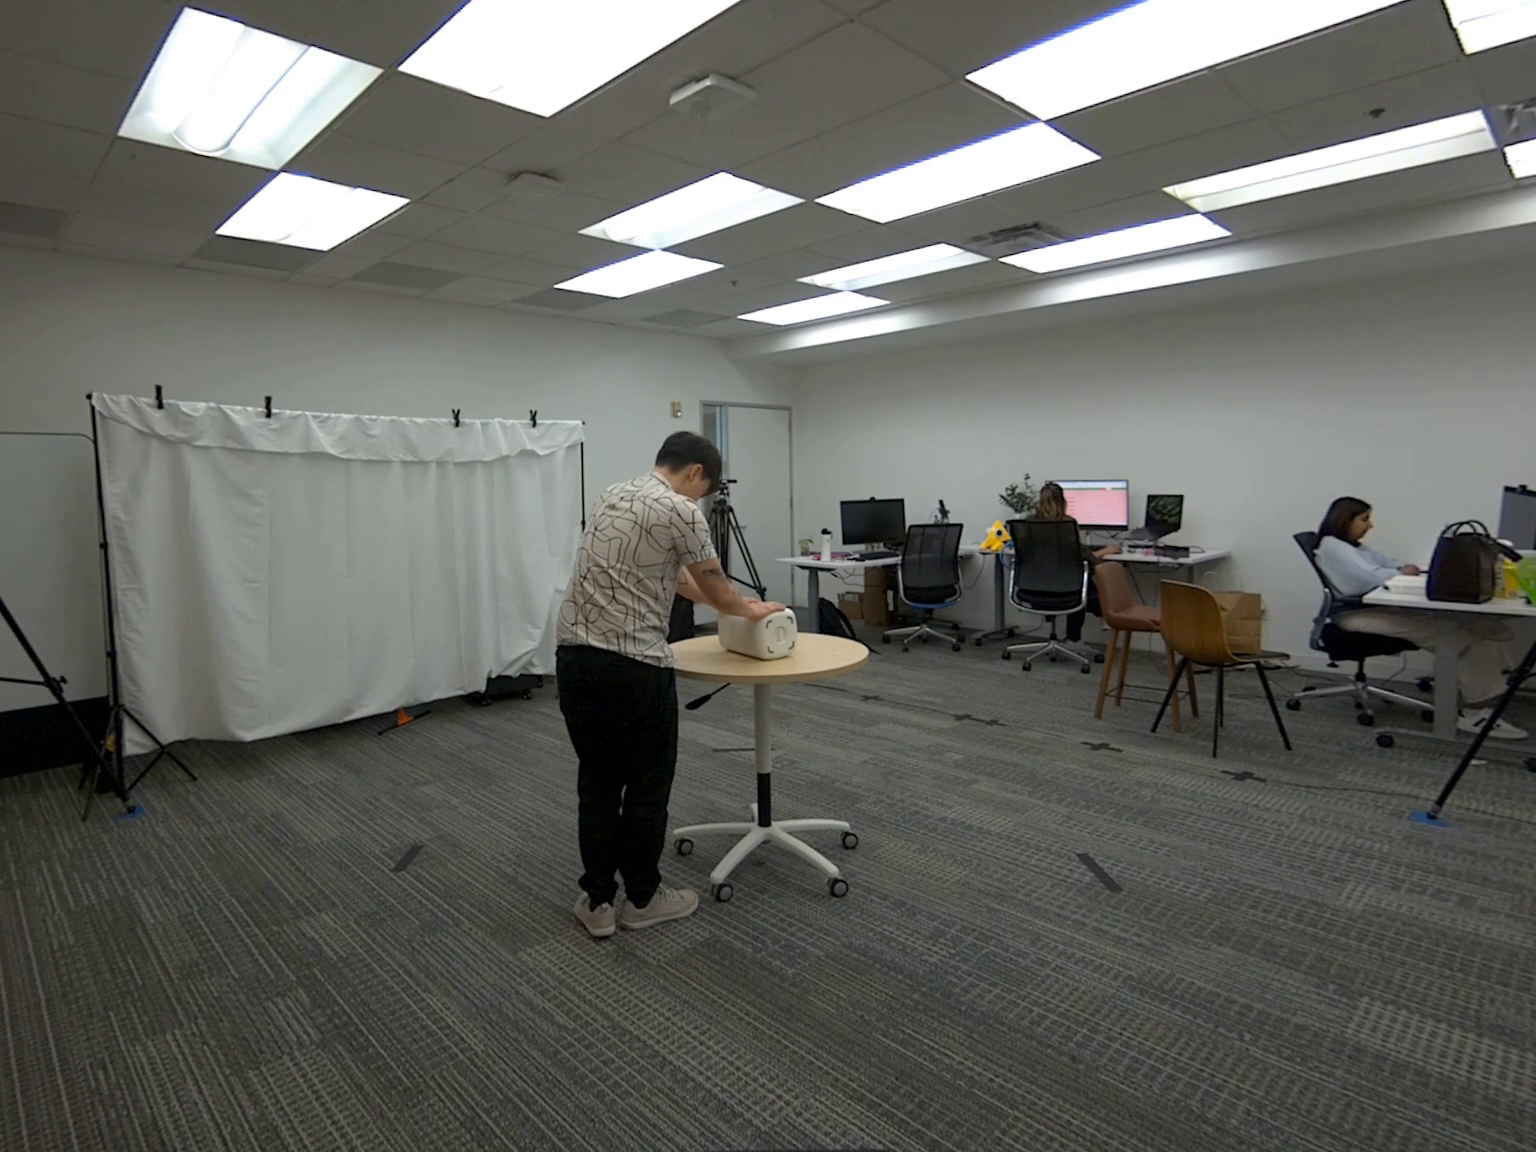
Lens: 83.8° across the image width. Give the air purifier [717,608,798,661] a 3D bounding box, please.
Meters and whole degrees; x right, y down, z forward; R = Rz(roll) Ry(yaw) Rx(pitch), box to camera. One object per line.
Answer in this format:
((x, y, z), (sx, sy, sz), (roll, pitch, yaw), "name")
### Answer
((-0.031, 0.187, 3.024), (0.167, 0.170, 0.273), (-8, 8, -34), "air purifier")
